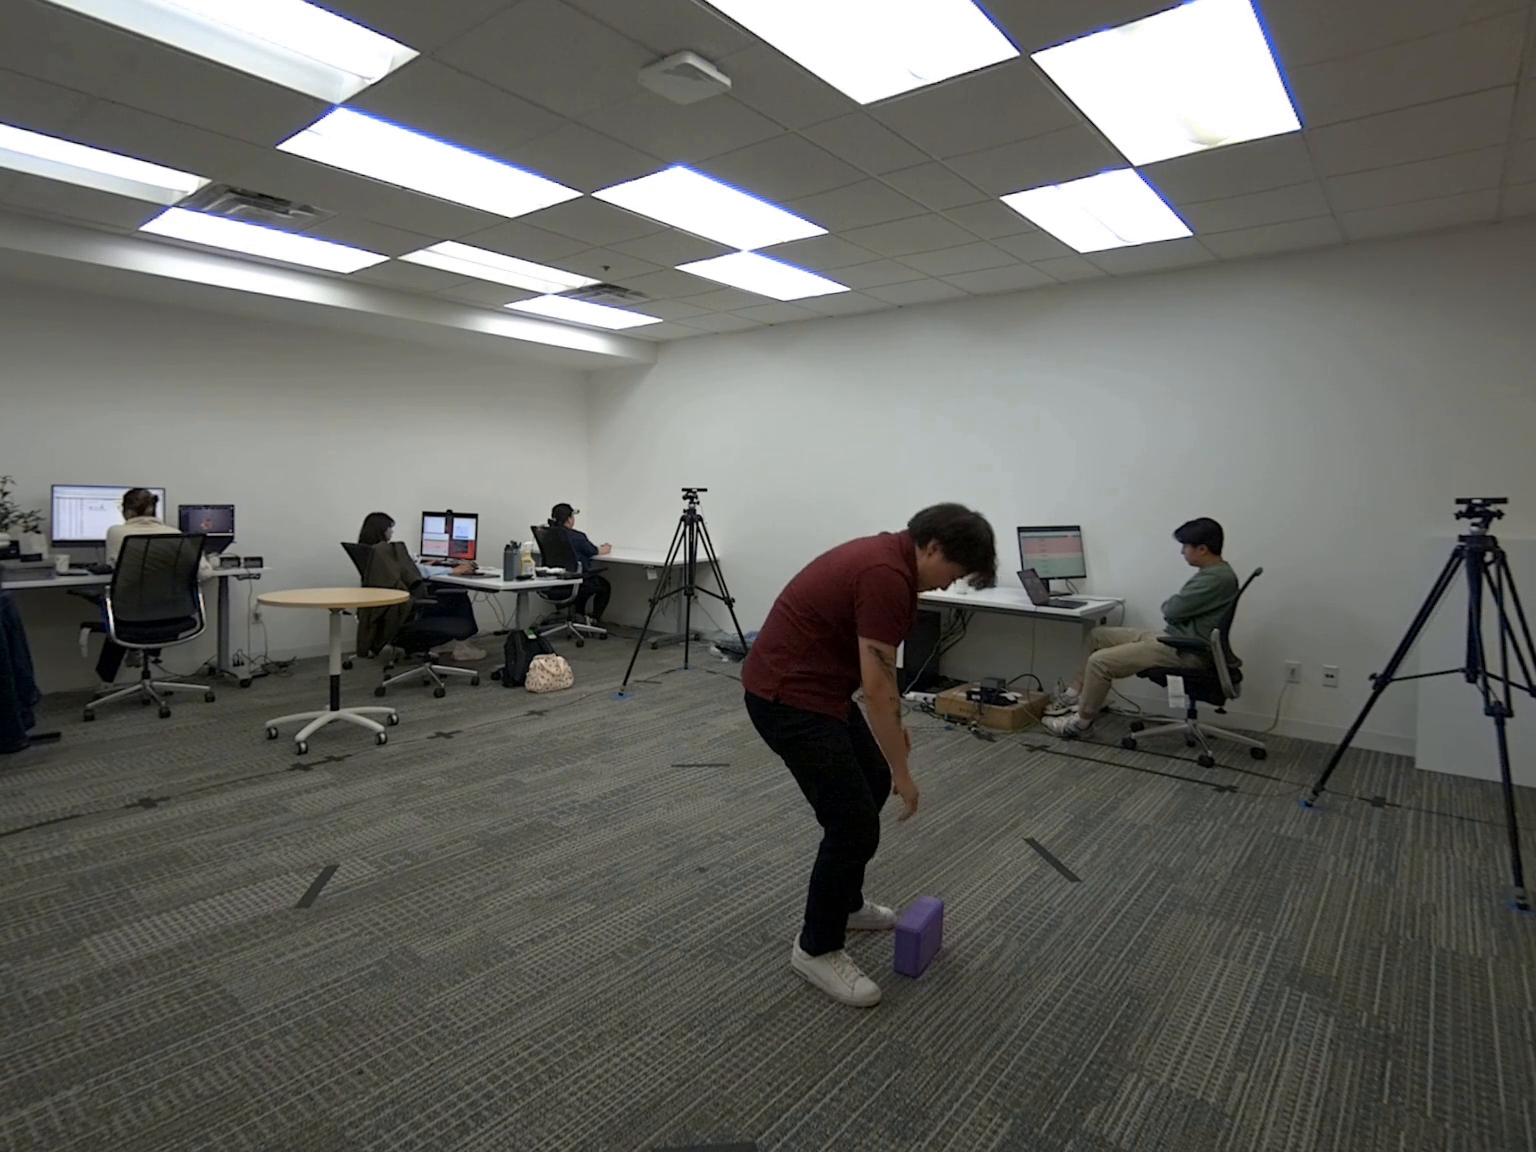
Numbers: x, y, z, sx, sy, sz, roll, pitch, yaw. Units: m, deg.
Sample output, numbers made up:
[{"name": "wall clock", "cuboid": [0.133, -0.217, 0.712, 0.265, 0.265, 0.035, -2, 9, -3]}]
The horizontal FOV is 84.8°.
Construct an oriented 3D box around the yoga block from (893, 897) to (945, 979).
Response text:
[{"name": "yoga block", "cuboid": [0.445, 1.064, 2.544, 0.079, 0.148, 0.223, 5, 5, 32]}]
